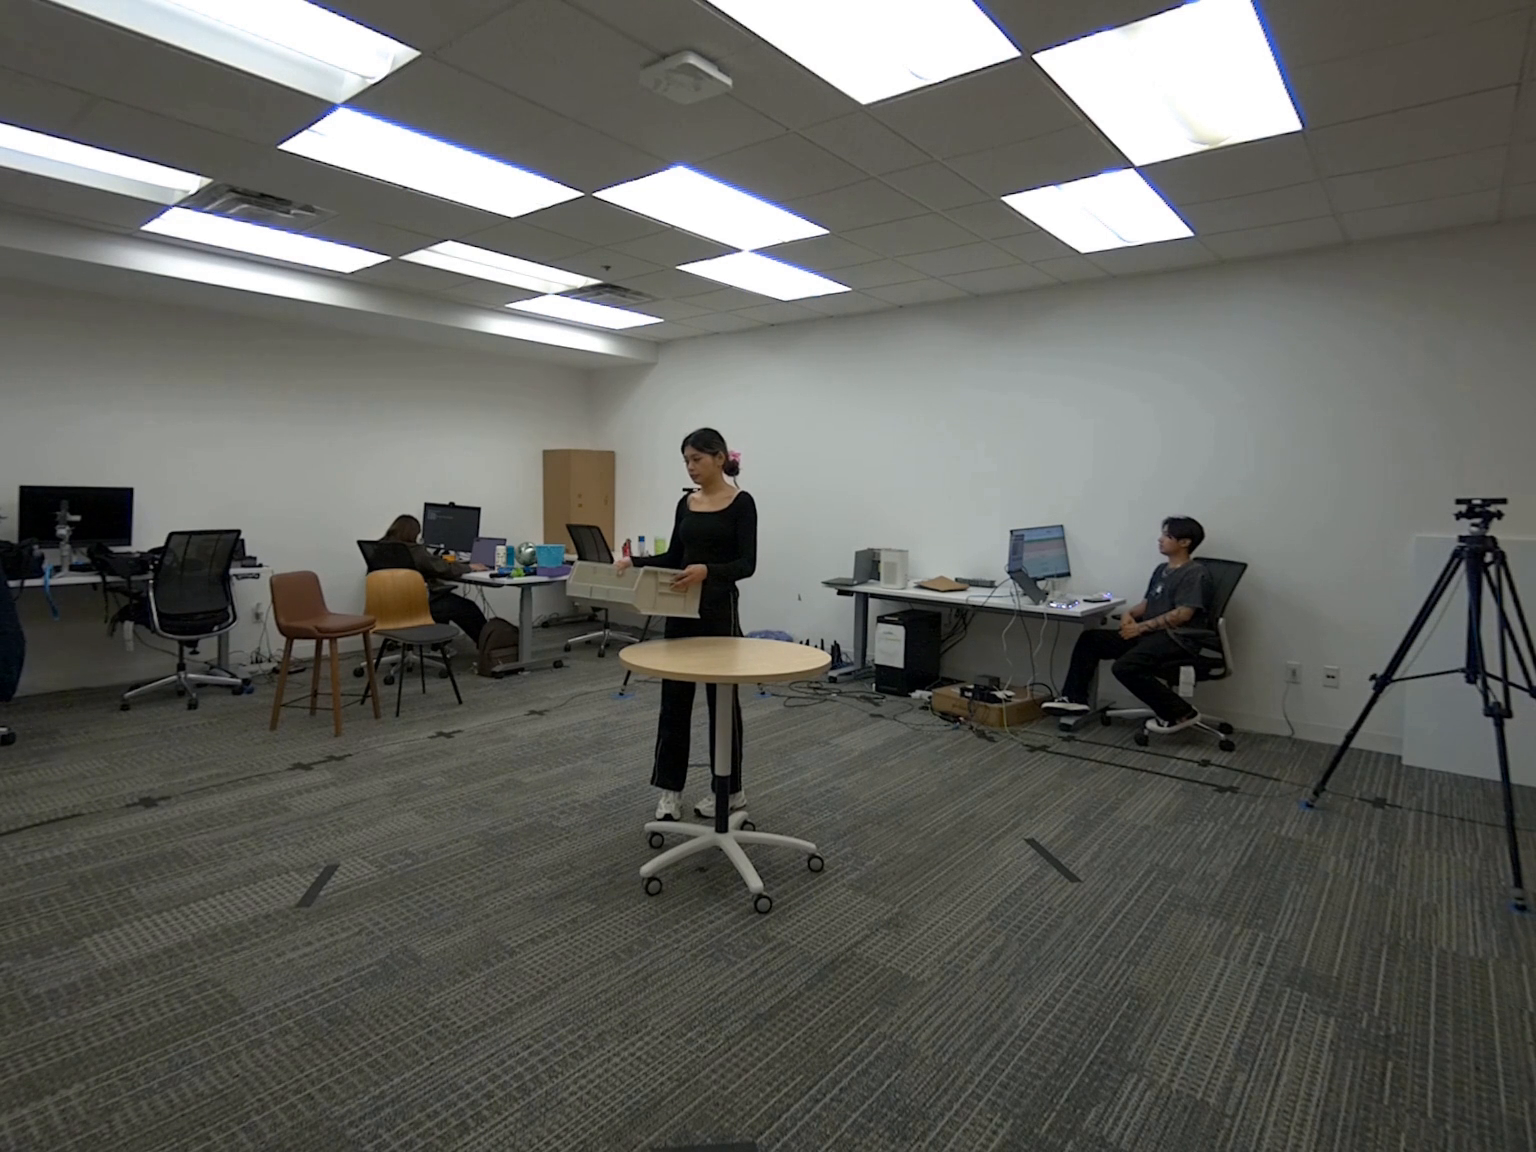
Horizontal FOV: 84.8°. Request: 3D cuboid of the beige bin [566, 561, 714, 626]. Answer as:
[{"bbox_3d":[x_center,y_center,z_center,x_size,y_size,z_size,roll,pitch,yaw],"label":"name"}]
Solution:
[{"bbox_3d":[-0.543,0.047,3.403,0.436,0.189,0.364,3,-4,42],"label":"beige bin"}]
